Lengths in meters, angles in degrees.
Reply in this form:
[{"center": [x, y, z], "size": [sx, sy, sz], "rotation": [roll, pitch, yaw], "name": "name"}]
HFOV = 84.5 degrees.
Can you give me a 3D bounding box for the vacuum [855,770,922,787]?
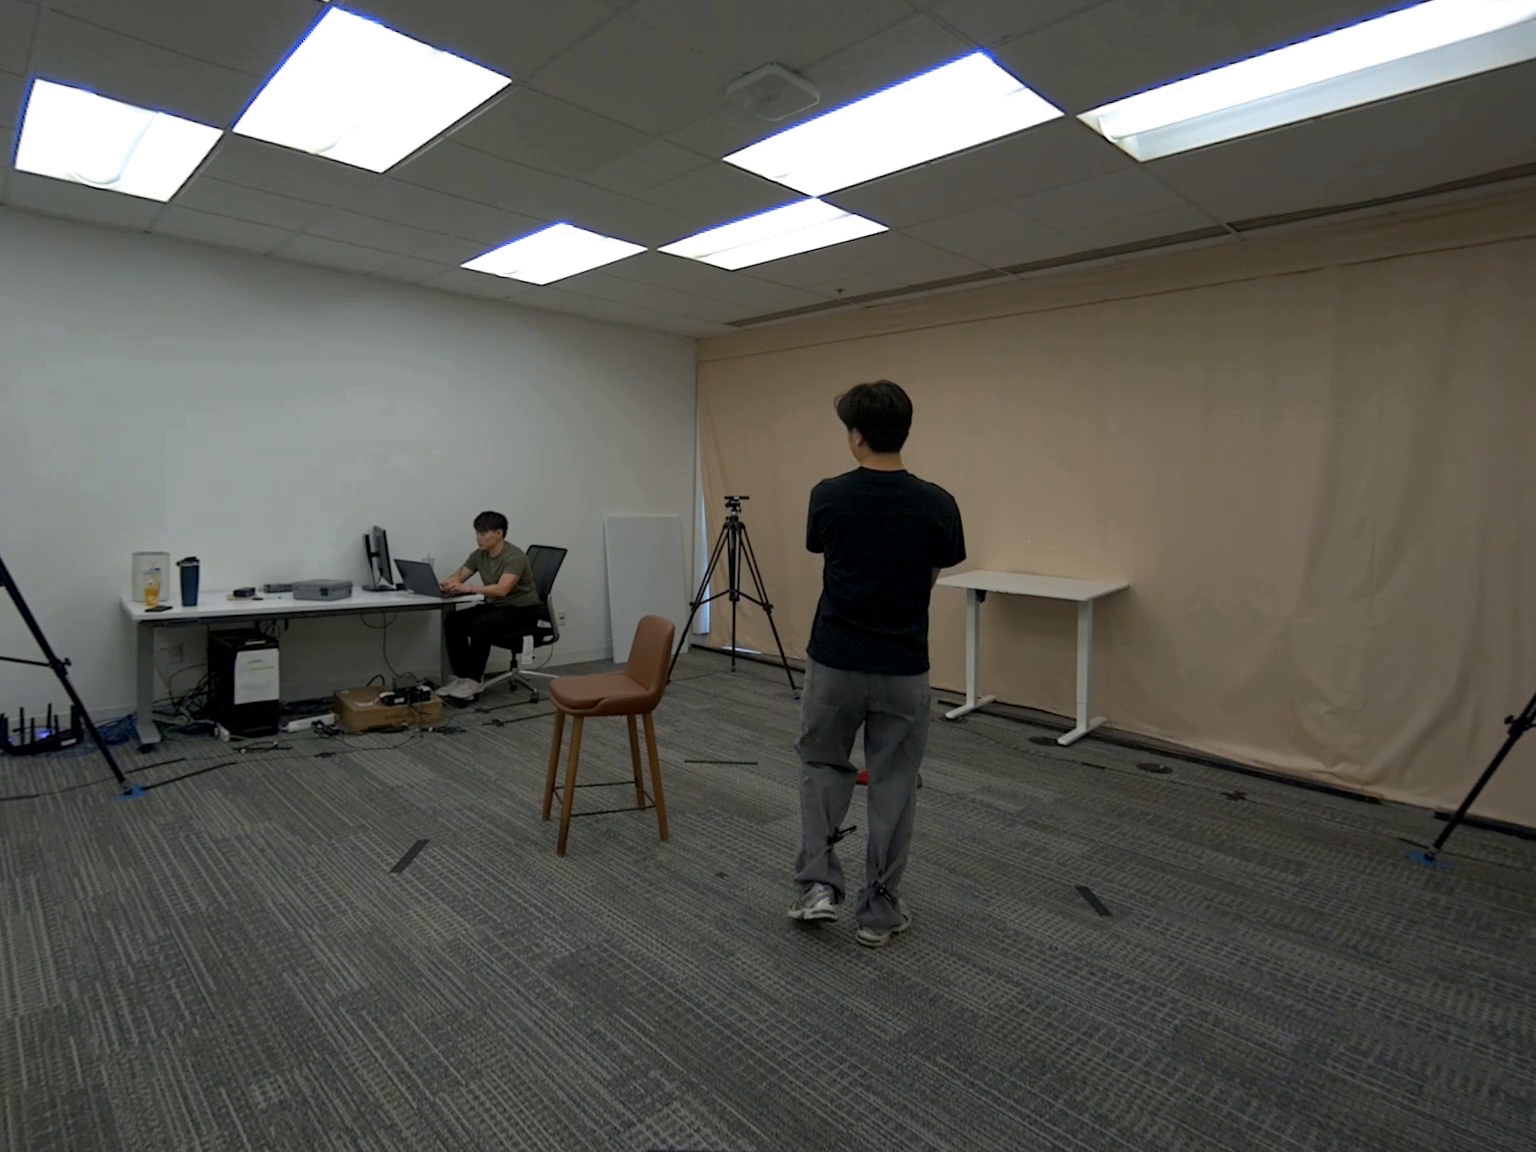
[{"center": [0.461, 0.192, 3.130], "size": [0.253, 1.053, 0.143], "rotation": [3, -6, 4], "name": "vacuum"}]
